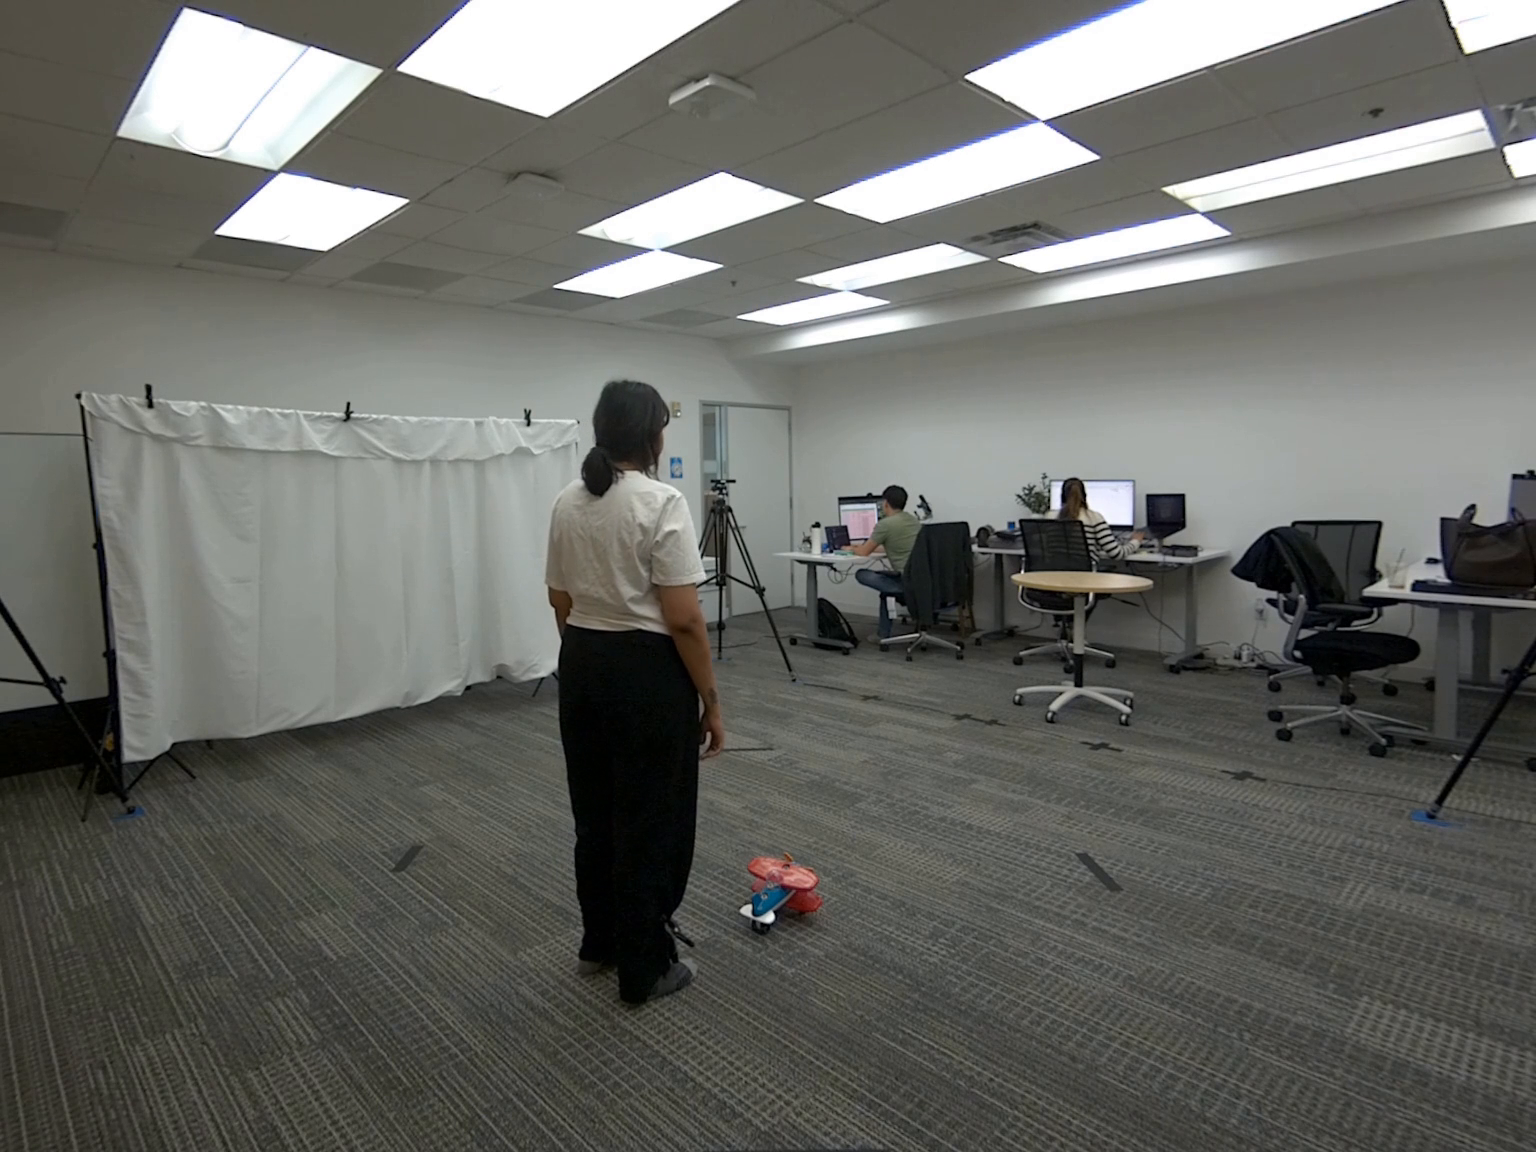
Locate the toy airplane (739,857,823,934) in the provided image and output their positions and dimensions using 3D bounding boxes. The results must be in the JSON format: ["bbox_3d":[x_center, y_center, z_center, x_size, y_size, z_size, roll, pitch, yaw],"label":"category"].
[{"bbox_3d":[0.052,1.014,2.705,0.254,0.156,0.257,1,5,10],"label":"toy airplane"}]
